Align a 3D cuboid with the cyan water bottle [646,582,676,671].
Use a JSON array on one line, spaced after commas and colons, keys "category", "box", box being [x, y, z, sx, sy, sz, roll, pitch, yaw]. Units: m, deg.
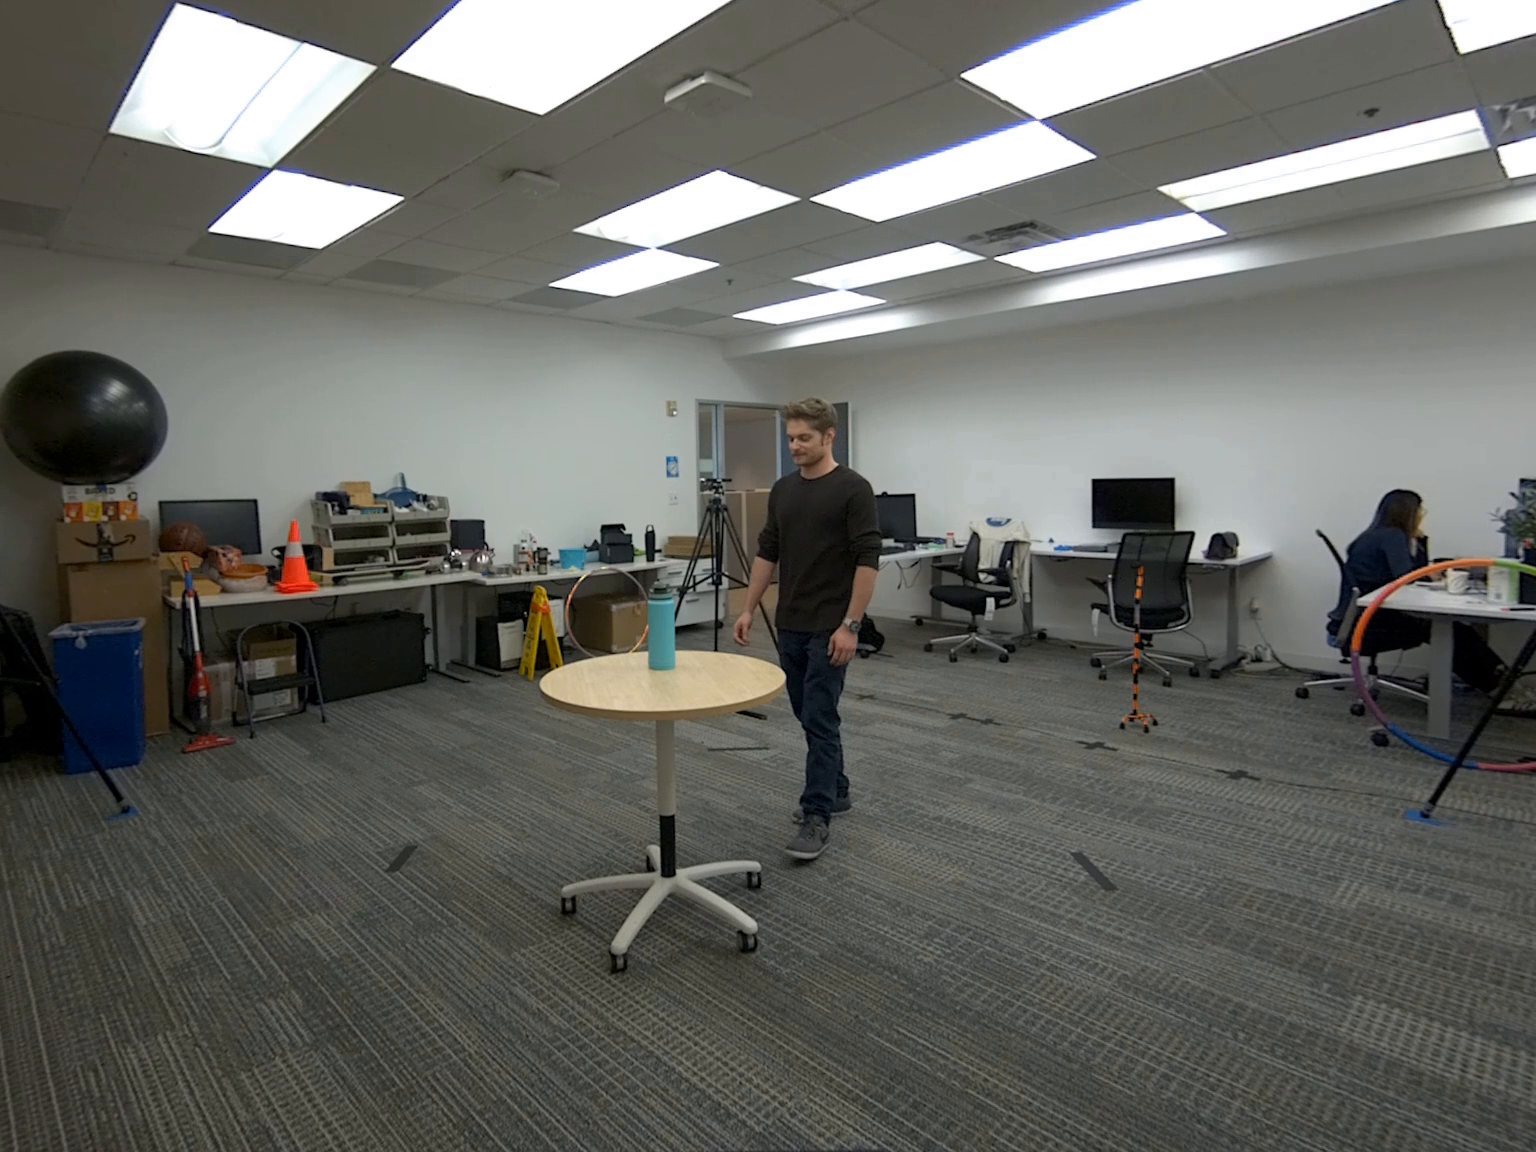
[{"category": "cyan water bottle", "box": [-0.350, 0.162, 2.801, 0.092, 0.283, 0.092, -2, 2, -2]}]
